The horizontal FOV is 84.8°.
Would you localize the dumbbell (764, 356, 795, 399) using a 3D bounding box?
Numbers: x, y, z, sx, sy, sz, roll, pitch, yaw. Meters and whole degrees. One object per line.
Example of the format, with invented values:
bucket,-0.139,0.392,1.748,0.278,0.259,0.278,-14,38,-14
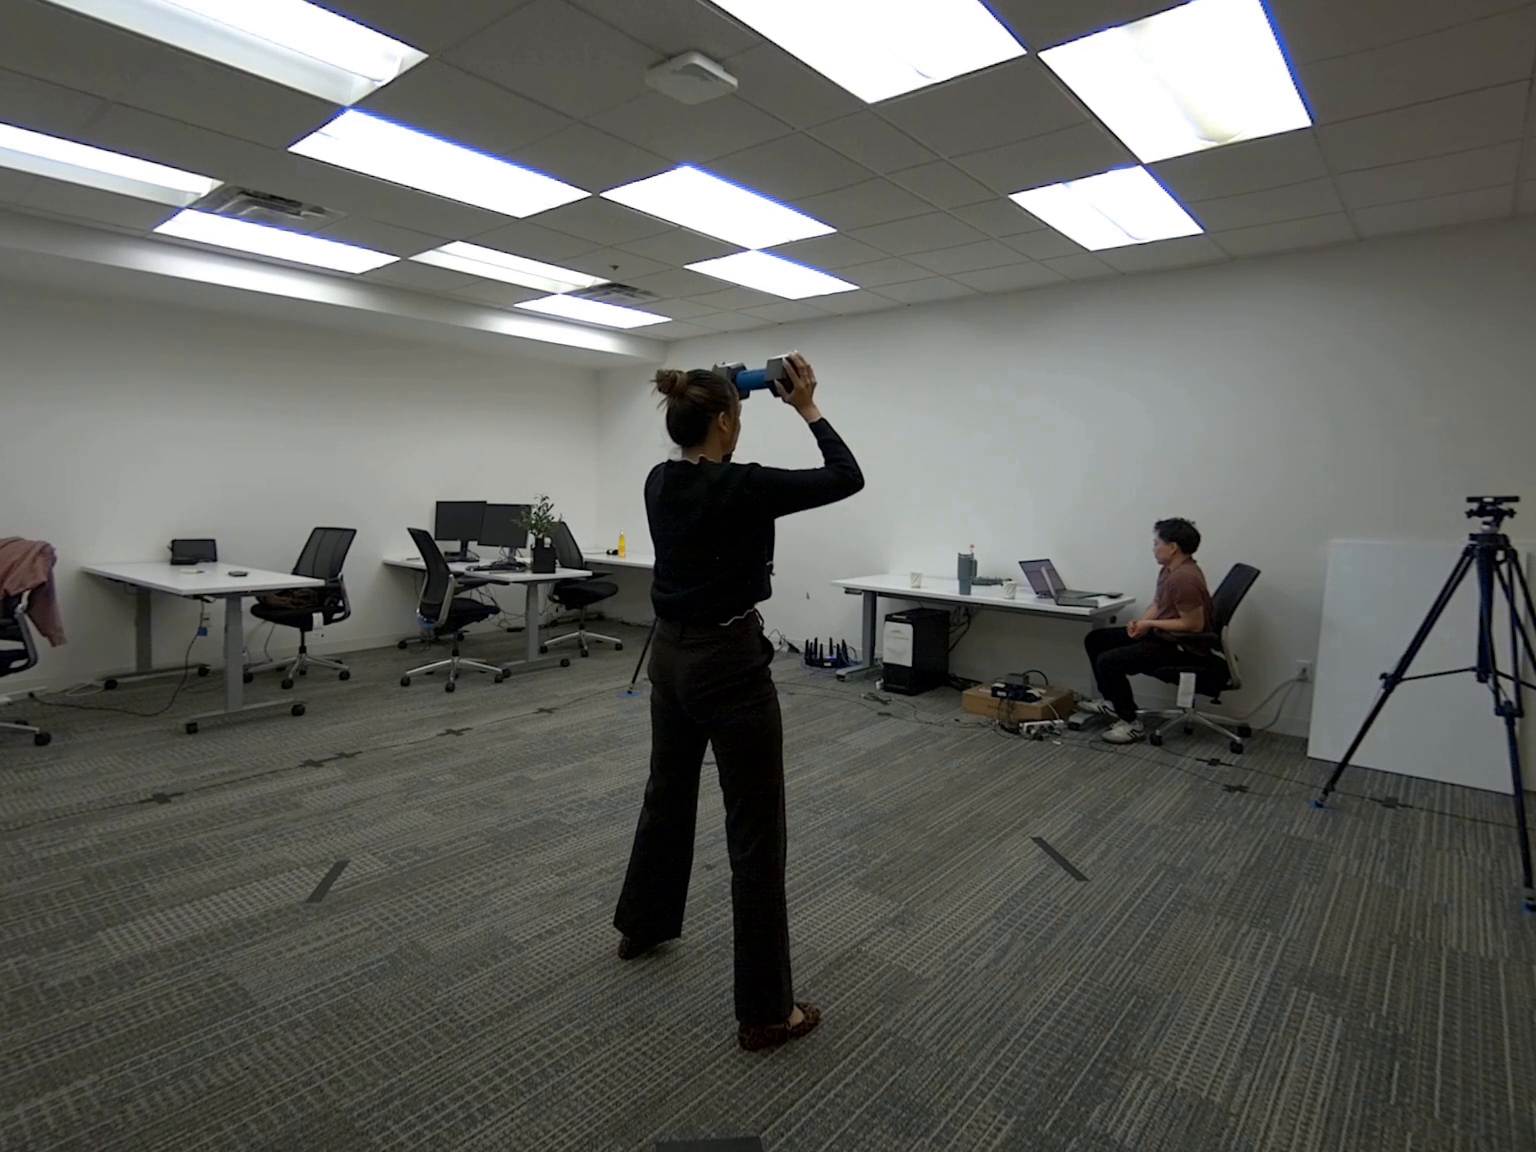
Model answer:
dumbbell,-0.039,-0.553,2.390,0.303,0.109,0.118,4,-37,44
